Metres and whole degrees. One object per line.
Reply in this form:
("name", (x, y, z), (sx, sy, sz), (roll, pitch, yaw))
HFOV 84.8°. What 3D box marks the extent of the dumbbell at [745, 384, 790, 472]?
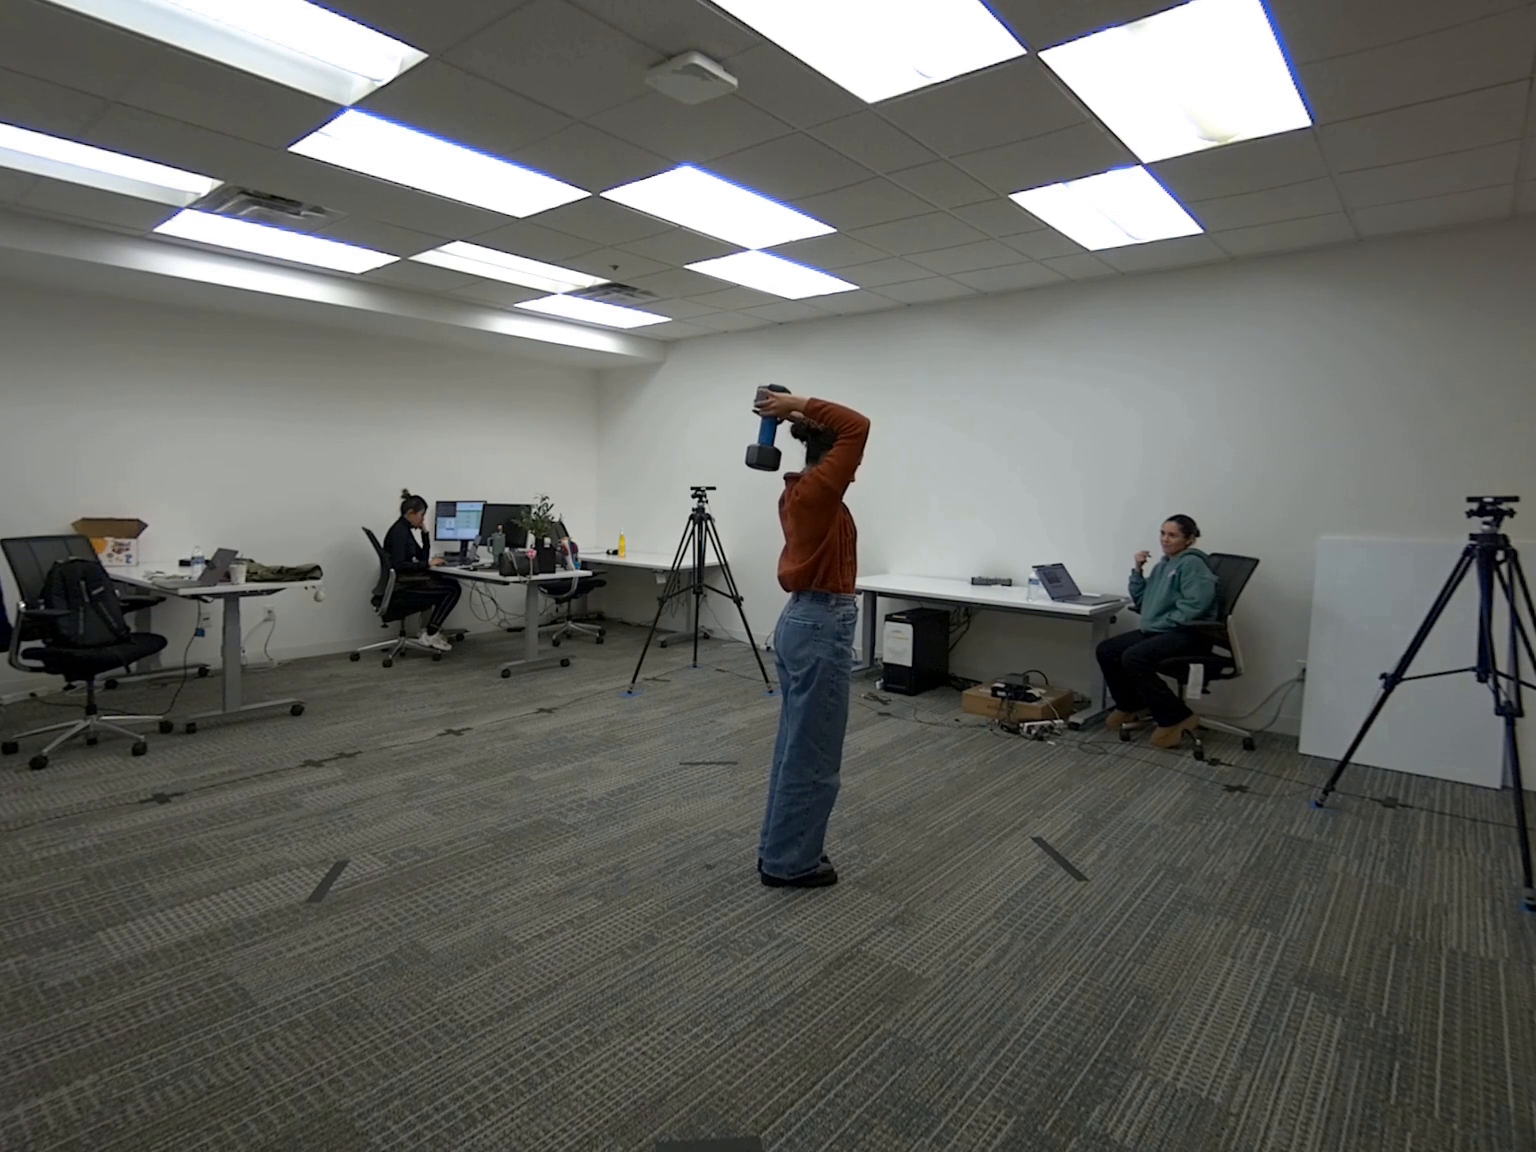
("dumbbell", (0.002, -0.522, 2.965), (0.121, 0.294, 0.110), (12, -1, -12))
